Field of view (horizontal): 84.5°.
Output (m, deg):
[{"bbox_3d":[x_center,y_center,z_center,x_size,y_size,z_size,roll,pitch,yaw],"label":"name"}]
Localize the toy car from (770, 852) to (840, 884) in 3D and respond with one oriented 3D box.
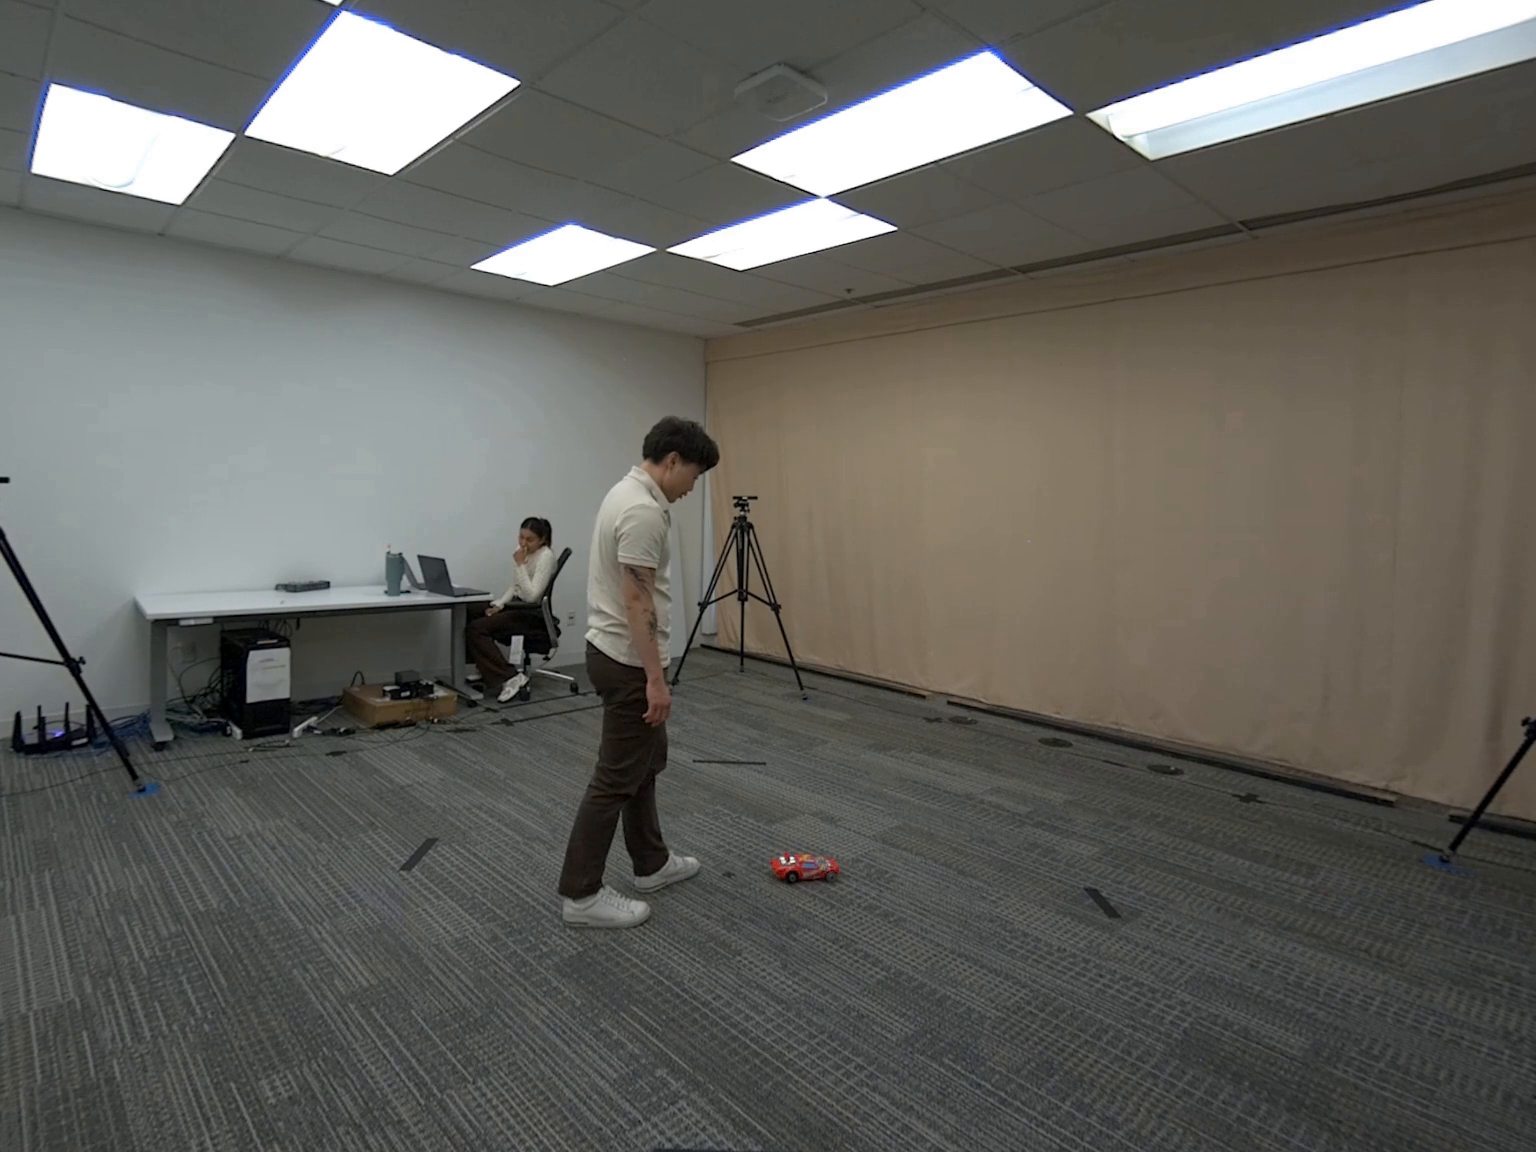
[{"bbox_3d":[0.125,1.076,3.098,0.253,0.083,0.131,11,4,-6],"label":"toy car"}]
